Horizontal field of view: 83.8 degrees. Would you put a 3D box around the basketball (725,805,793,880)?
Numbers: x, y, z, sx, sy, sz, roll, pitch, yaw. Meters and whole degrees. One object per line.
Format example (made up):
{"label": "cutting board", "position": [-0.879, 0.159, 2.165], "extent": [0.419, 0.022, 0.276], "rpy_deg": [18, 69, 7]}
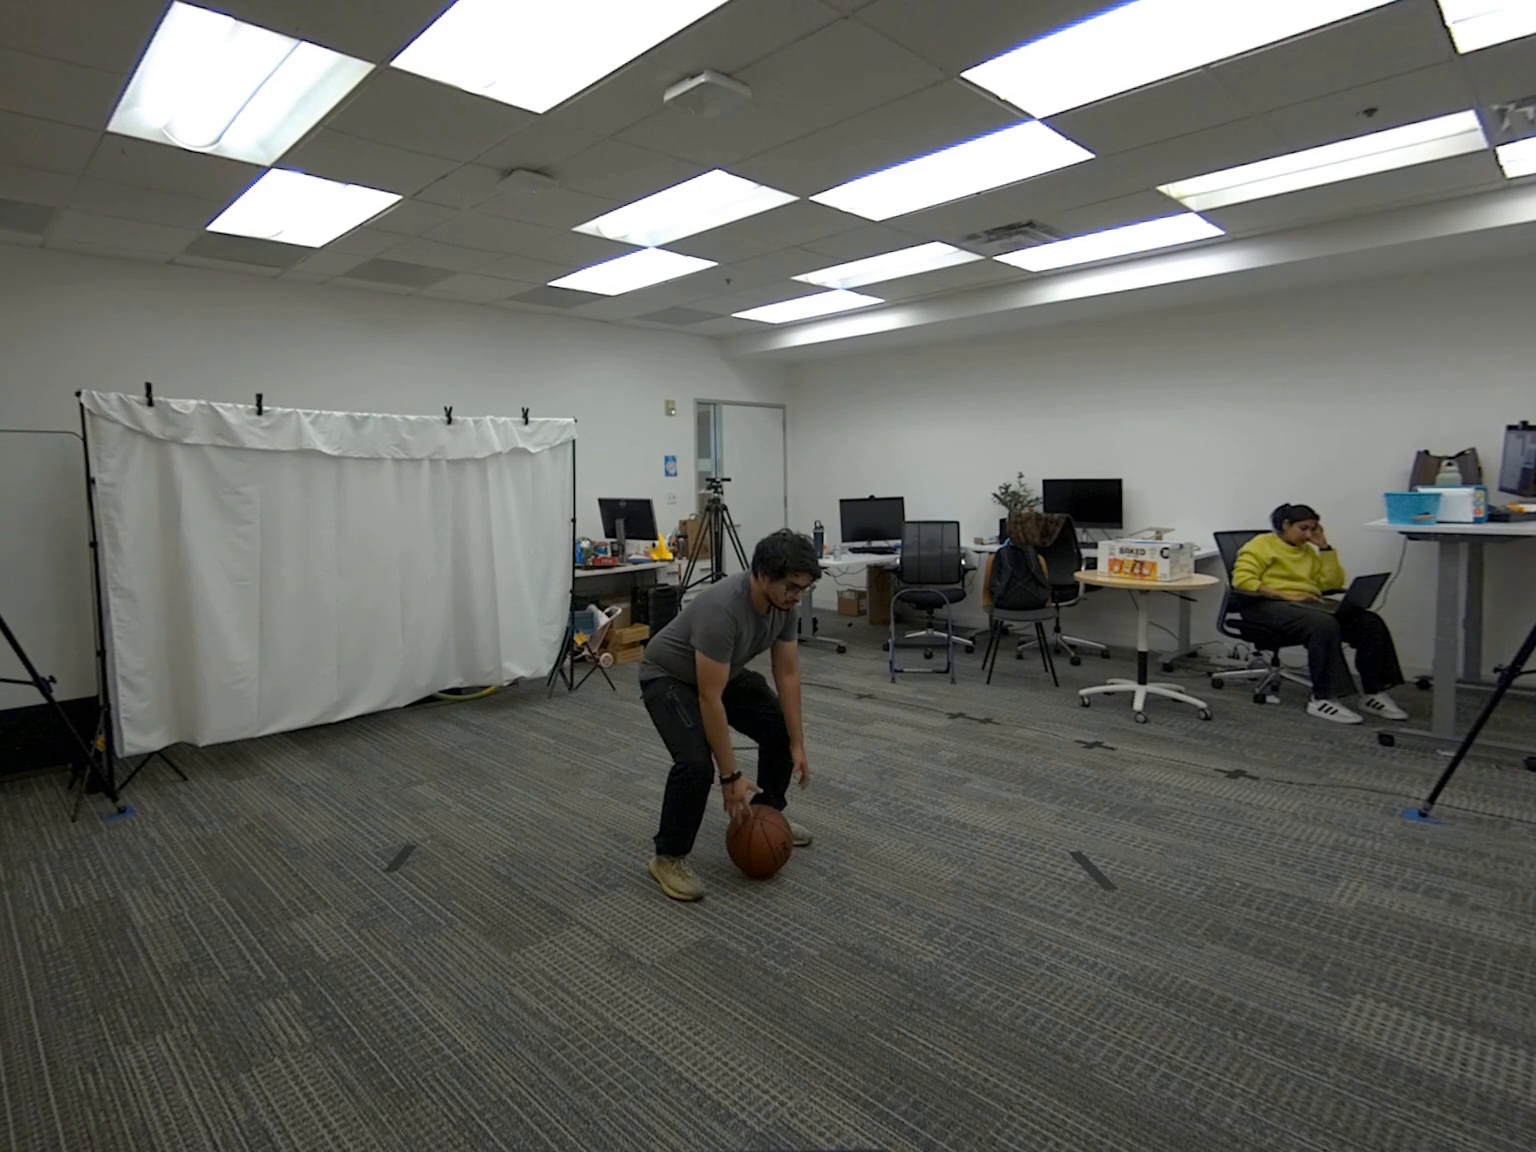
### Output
{"label": "basketball", "position": [-0.031, 0.930, 3.024], "extent": [0.236, 0.235, 0.237], "rpy_deg": [-1, 5, -2]}
